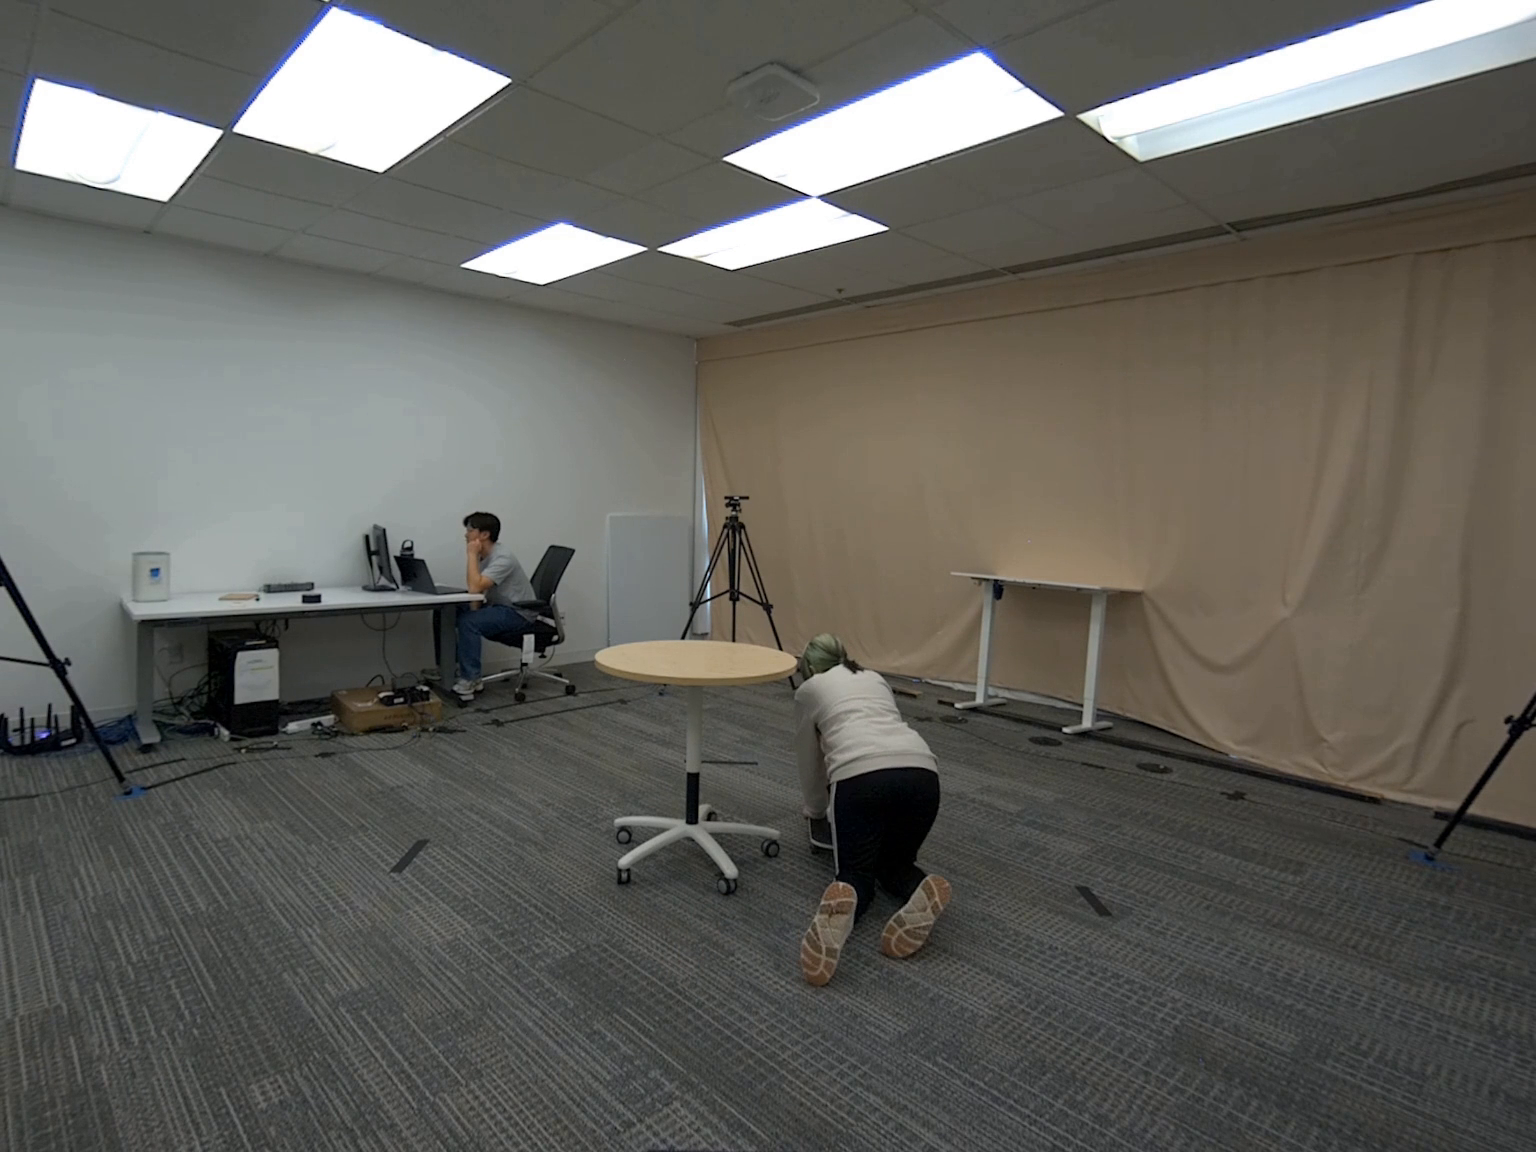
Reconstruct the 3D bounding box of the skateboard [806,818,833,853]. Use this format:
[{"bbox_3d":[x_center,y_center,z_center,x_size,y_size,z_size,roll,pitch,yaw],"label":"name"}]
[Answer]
[{"bbox_3d":[0.255,1.028,3.516,0.194,0.110,0.786,2,6,1],"label":"skateboard"}]
